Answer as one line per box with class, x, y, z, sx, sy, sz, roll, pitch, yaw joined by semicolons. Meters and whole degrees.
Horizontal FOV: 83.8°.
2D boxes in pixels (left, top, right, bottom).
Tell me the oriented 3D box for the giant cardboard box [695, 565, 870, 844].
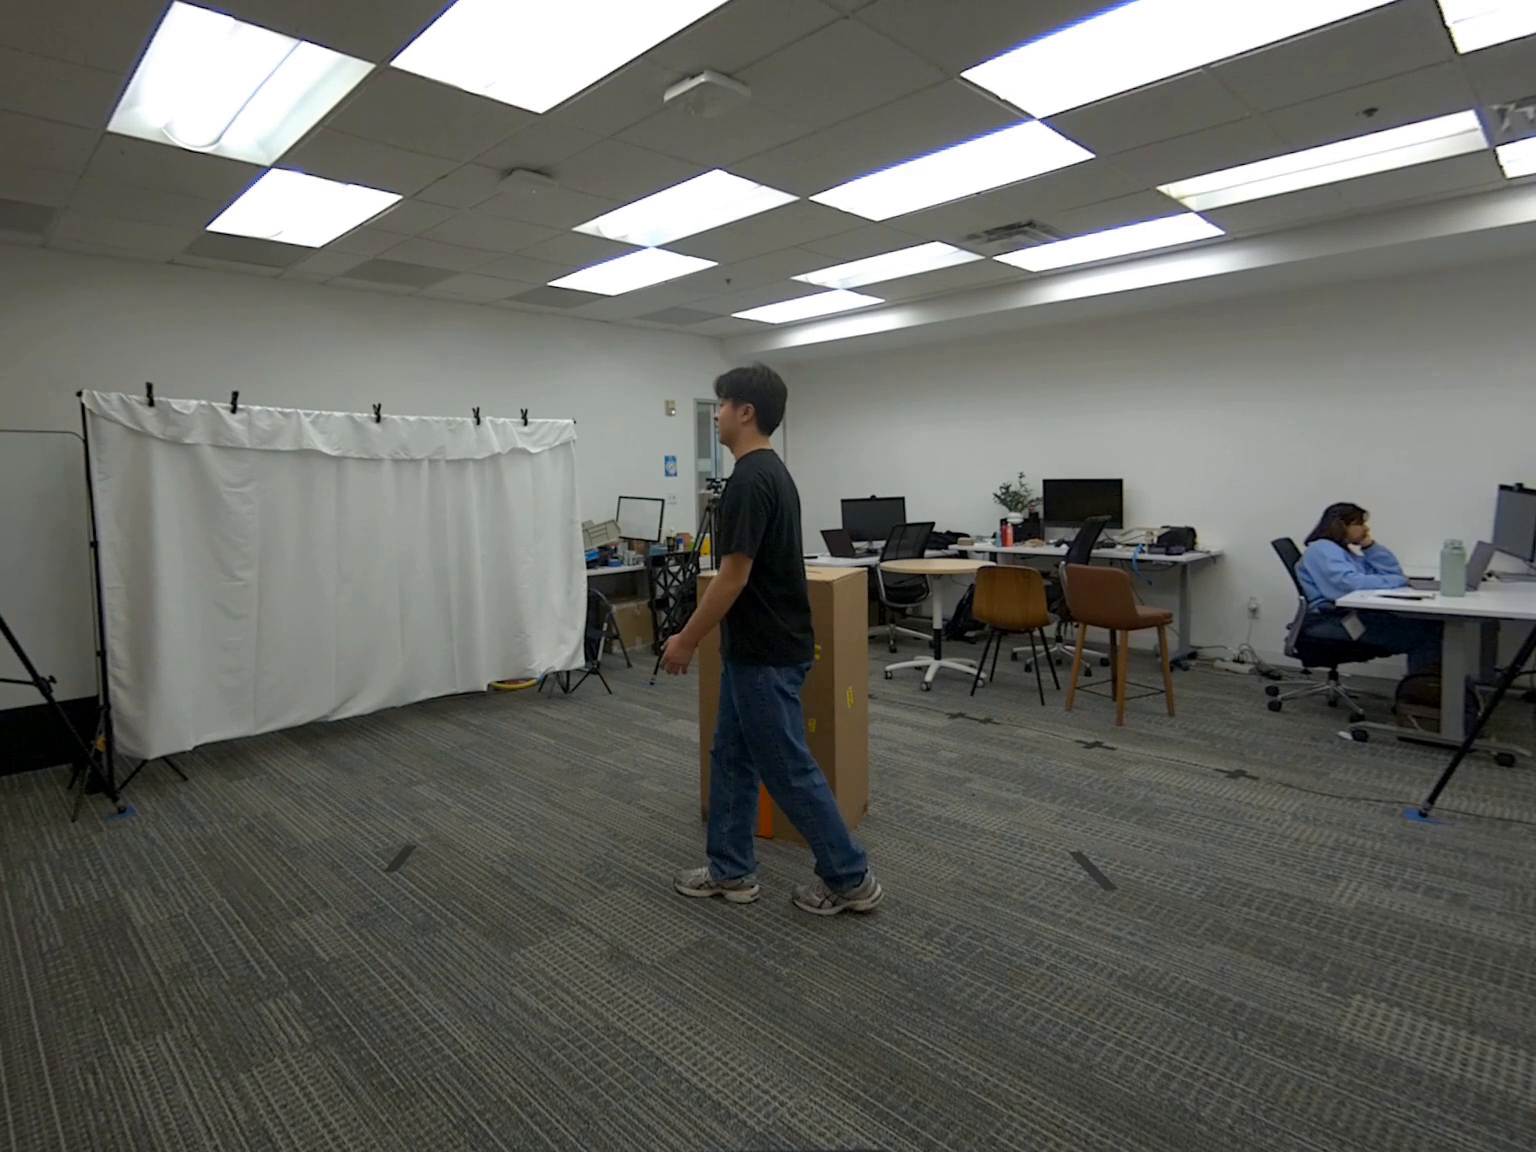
giant cardboard box;0.071;0.484;3.472;0.598;1.022;0.438;1;5;27
